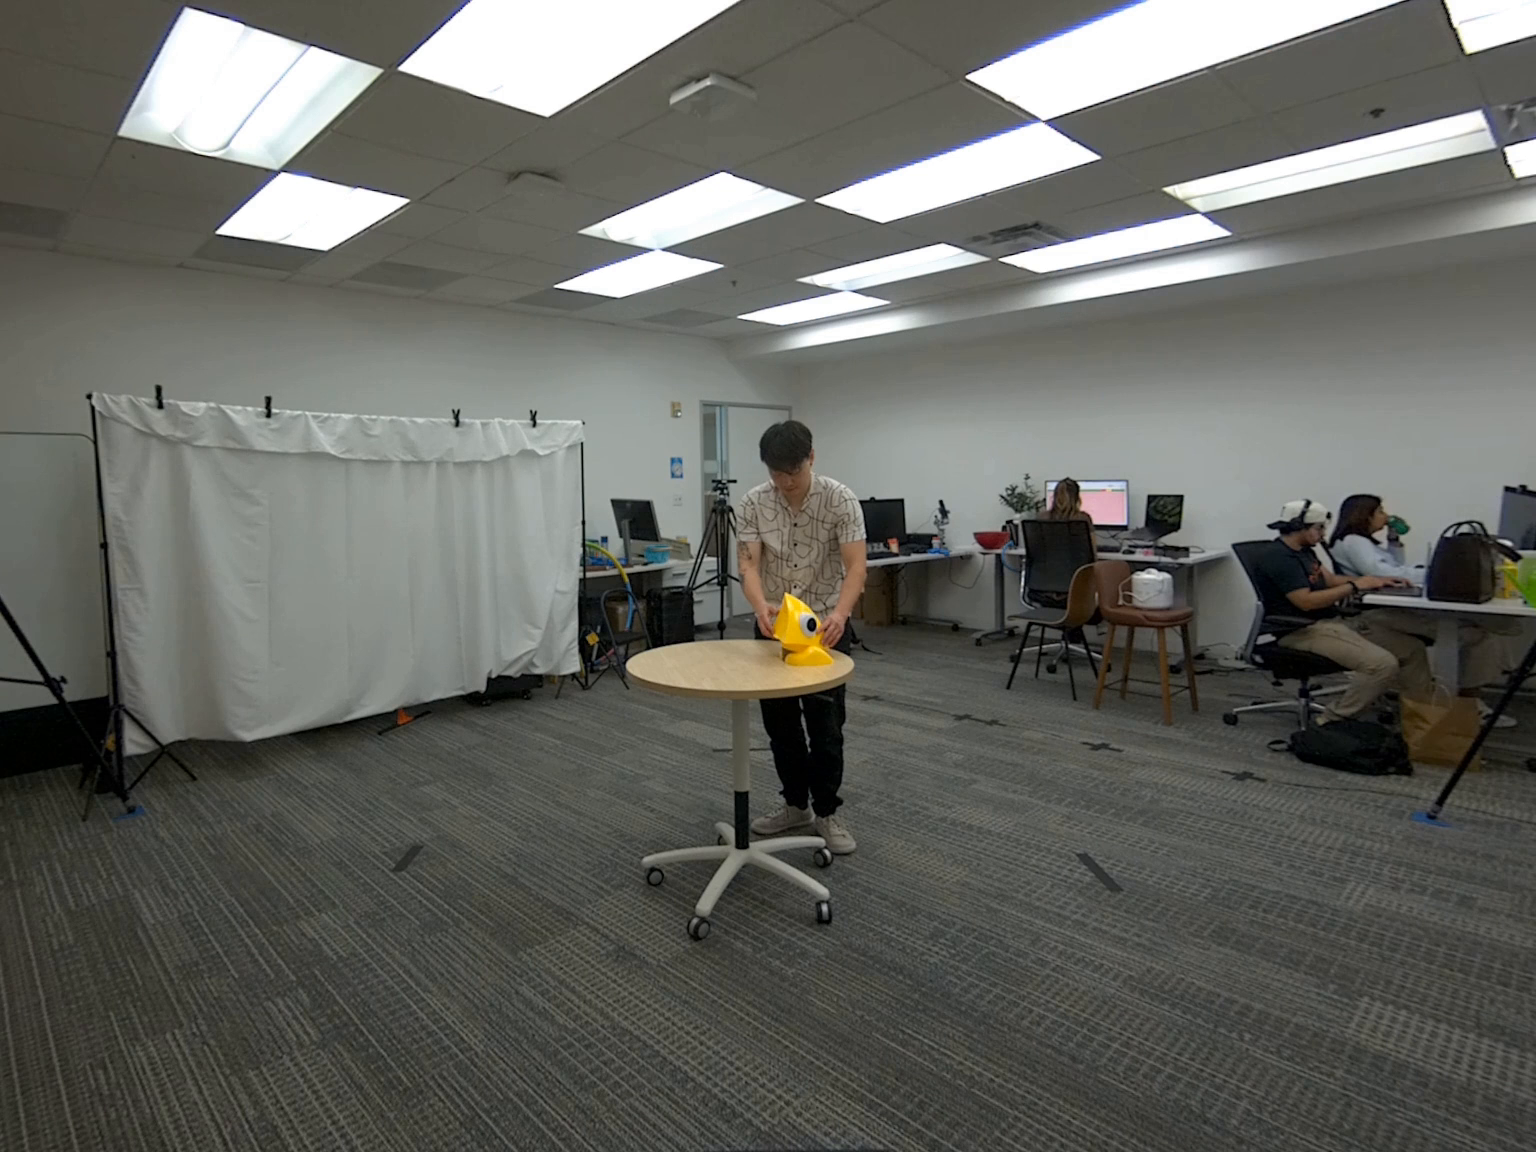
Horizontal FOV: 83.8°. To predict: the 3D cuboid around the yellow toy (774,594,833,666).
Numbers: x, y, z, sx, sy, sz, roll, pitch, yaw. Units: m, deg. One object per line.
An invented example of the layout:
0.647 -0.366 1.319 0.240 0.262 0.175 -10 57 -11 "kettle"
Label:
0.120 0.175 2.907 0.191 0.230 0.208 0 5 -11 "yellow toy"
